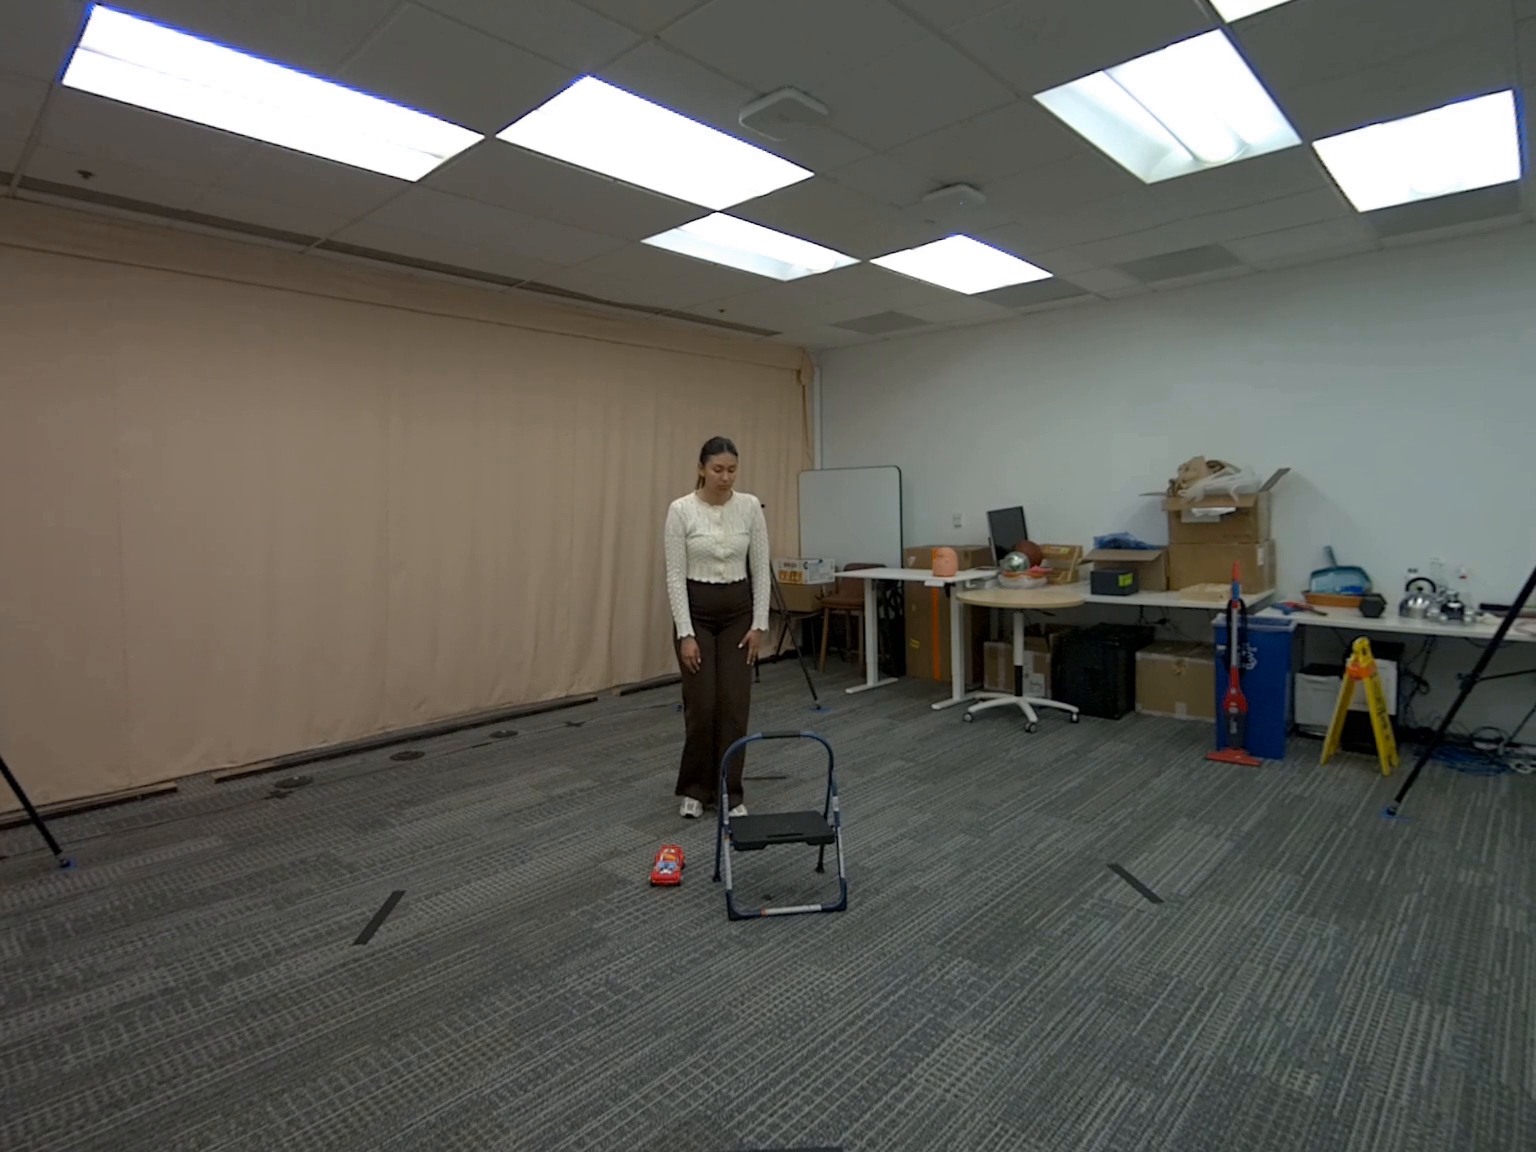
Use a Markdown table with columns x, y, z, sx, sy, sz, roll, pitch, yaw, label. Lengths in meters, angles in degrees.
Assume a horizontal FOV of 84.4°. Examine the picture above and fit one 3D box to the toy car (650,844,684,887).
| x | y | z | sx | sy | sz | roll | pitch | yaw | label |
| --- | --- | --- | --- | --- | --- | --- | --- | --- | --- |
| -0.385 | 1.097 | 3.196 | 0.130 | 0.082 | 0.257 | -1 | 16 | -2 | toy car |
